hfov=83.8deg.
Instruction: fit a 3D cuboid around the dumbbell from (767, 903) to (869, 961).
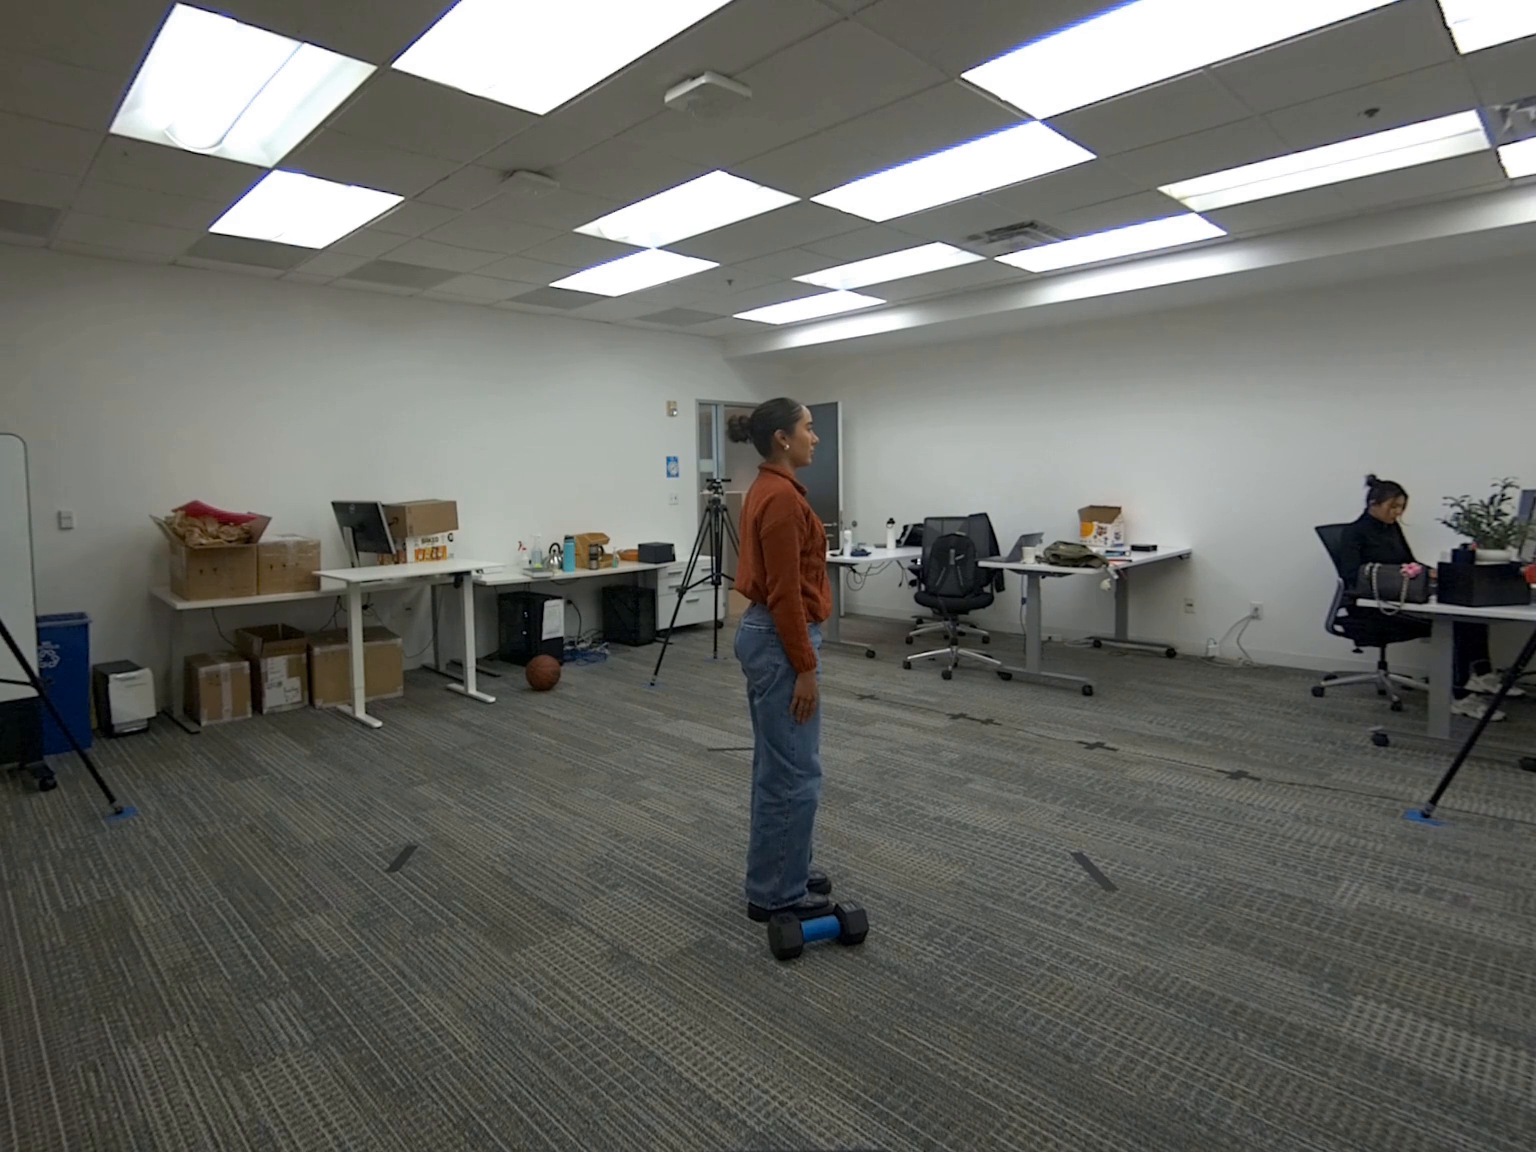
[{"bbox_3d":[0.158,1.059,2.535,0.289,0.126,0.108,-2,-25,-19],"label":"dumbbell"}]
